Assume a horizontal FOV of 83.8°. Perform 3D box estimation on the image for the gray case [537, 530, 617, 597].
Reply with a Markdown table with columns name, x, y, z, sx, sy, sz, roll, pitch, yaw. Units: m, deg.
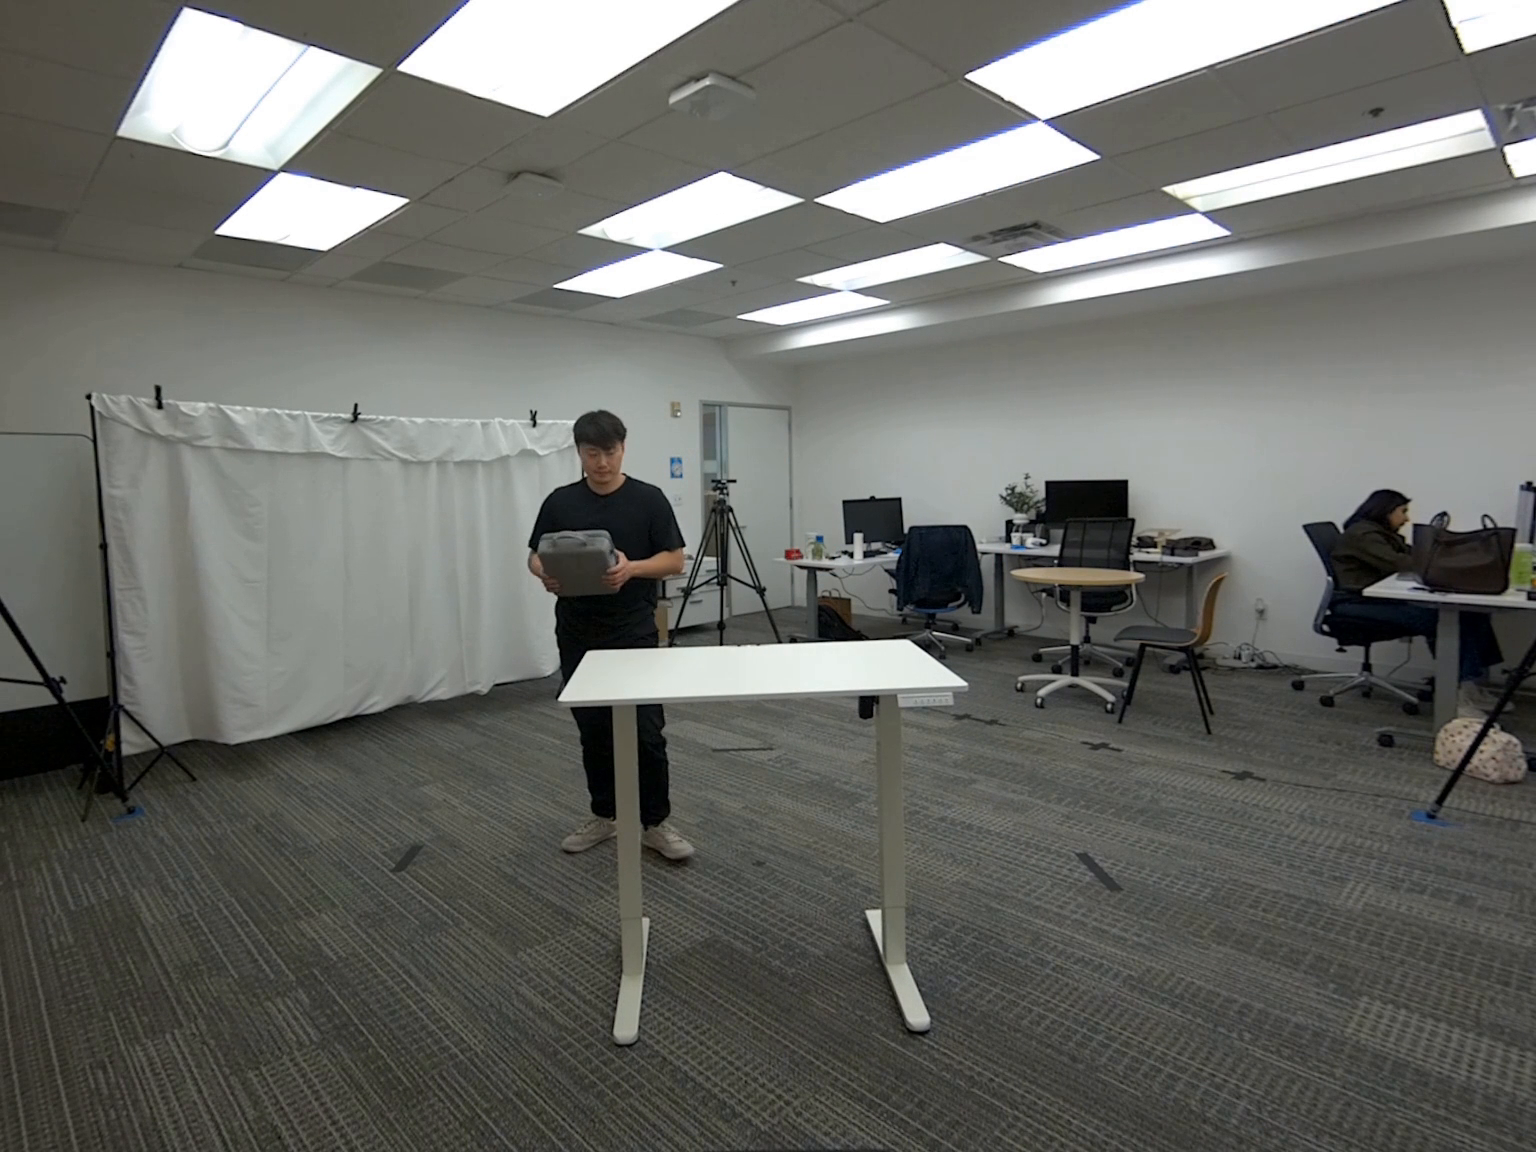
| name | x | y | z | sx | sy | sz | roll | pitch | yaw |
| --- | --- | --- | --- | --- | --- | --- | --- | --- | --- |
| gray case | -0.662 | -0.040 | 3.014 | 0.259 | 0.107 | 0.251 | -8 | -42 | 12 |
